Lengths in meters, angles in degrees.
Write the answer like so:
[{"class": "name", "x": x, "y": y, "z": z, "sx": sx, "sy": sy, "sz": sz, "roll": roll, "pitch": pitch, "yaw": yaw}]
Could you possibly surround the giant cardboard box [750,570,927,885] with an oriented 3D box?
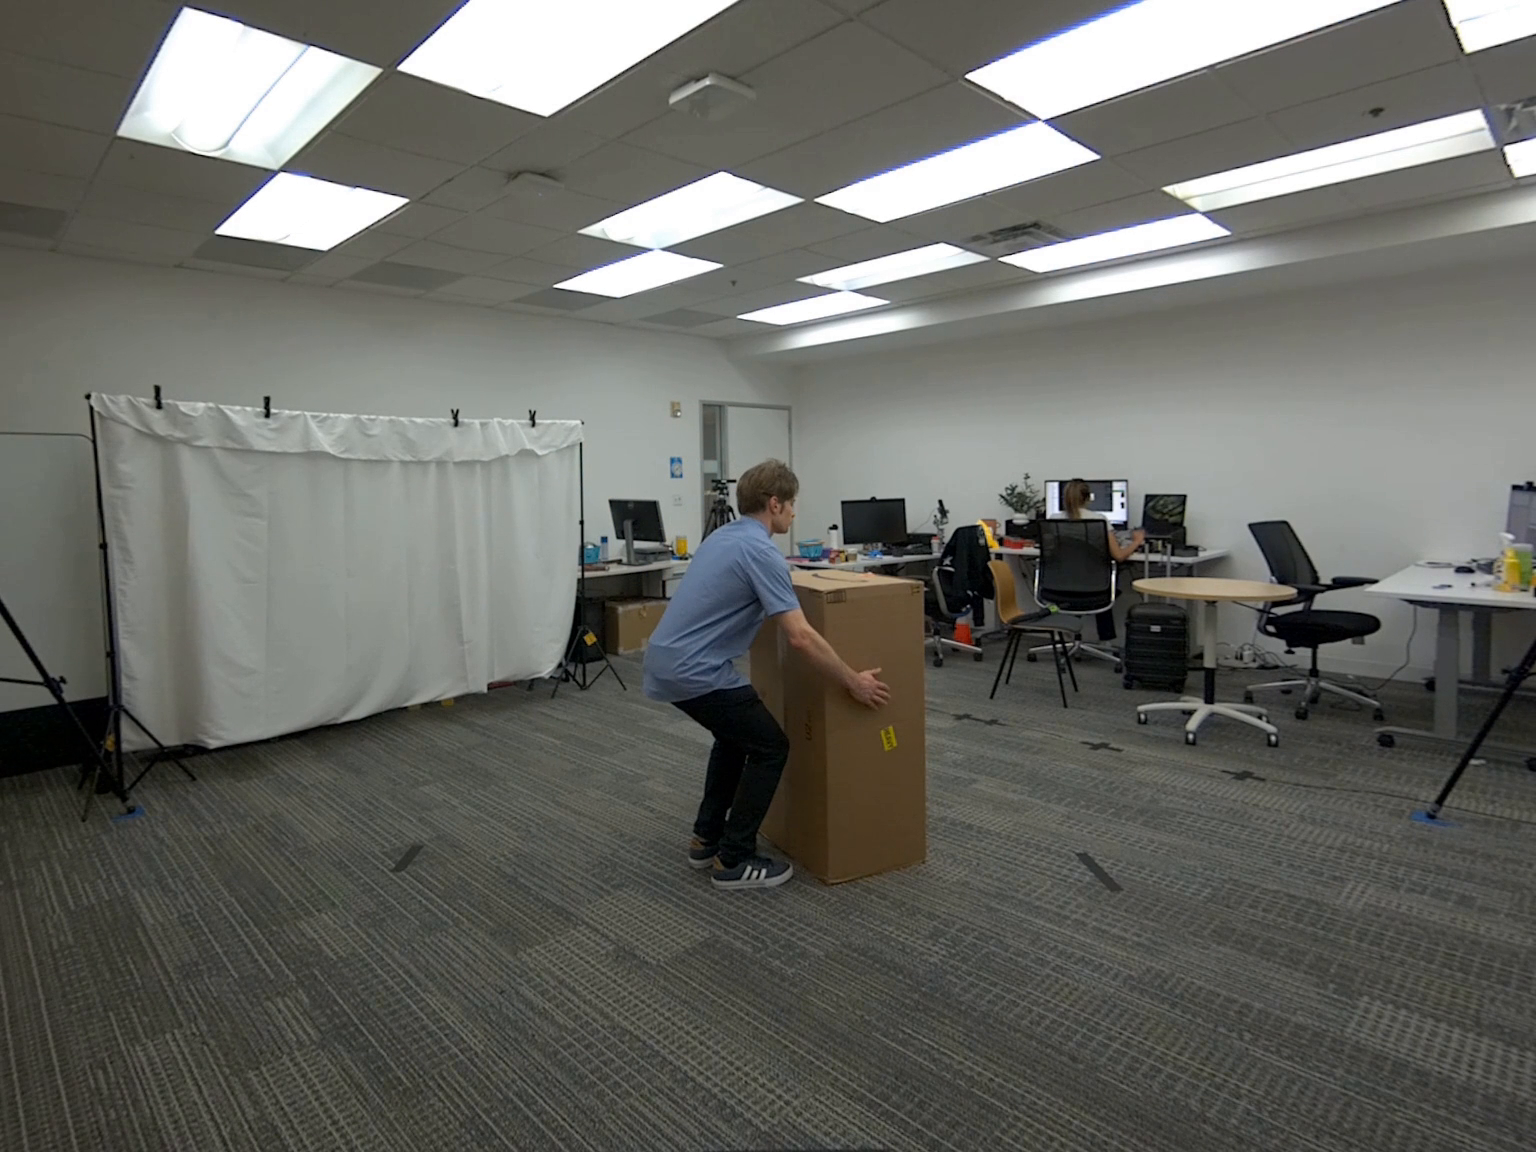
[{"class": "giant cardboard box", "x": 0.251, "y": 0.516, "z": 3.252, "sx": 0.417, "sy": 1.022, "sz": 0.592, "roll": -3, "pitch": 4, "yaw": -27}]
